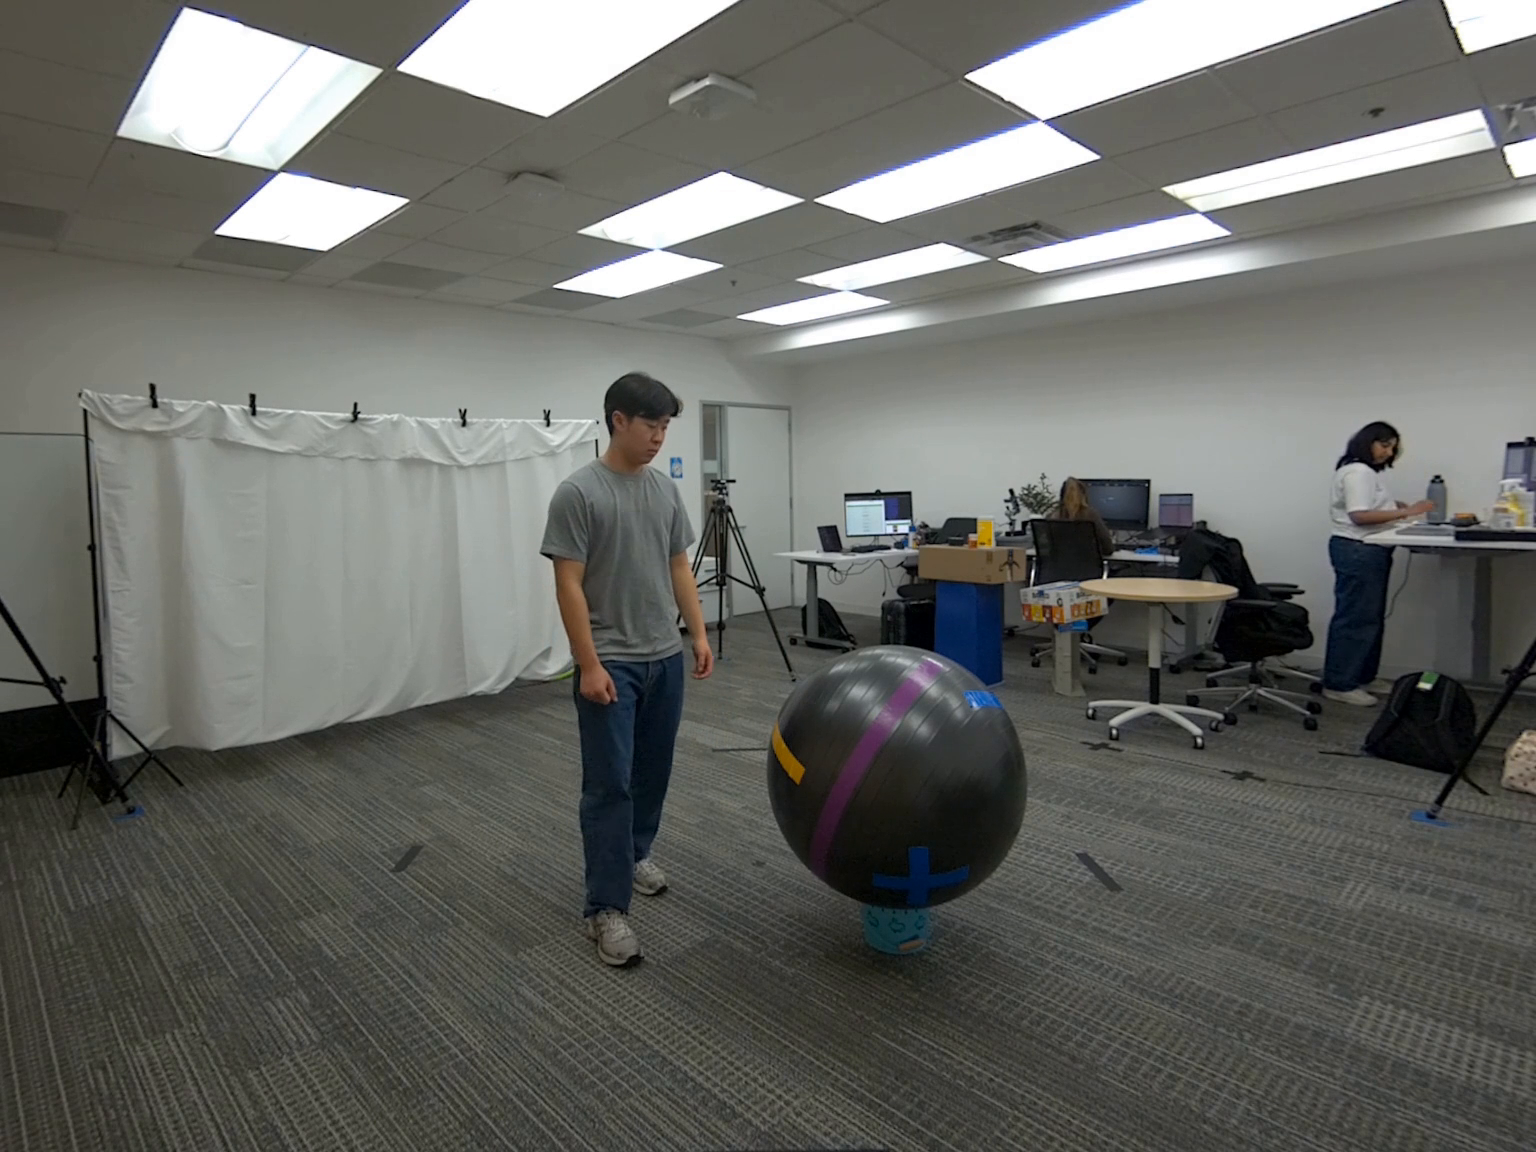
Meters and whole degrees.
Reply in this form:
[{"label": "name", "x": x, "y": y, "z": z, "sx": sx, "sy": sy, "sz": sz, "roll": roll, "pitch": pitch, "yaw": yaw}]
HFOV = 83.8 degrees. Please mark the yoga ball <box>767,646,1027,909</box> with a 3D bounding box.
[{"label": "yoga ball", "x": 0.378, "y": 0.588, "z": 2.562, "sx": 0.757, "sy": 0.755, "sz": 0.762, "roll": -1, "pitch": 5, "yaw": -2}]
